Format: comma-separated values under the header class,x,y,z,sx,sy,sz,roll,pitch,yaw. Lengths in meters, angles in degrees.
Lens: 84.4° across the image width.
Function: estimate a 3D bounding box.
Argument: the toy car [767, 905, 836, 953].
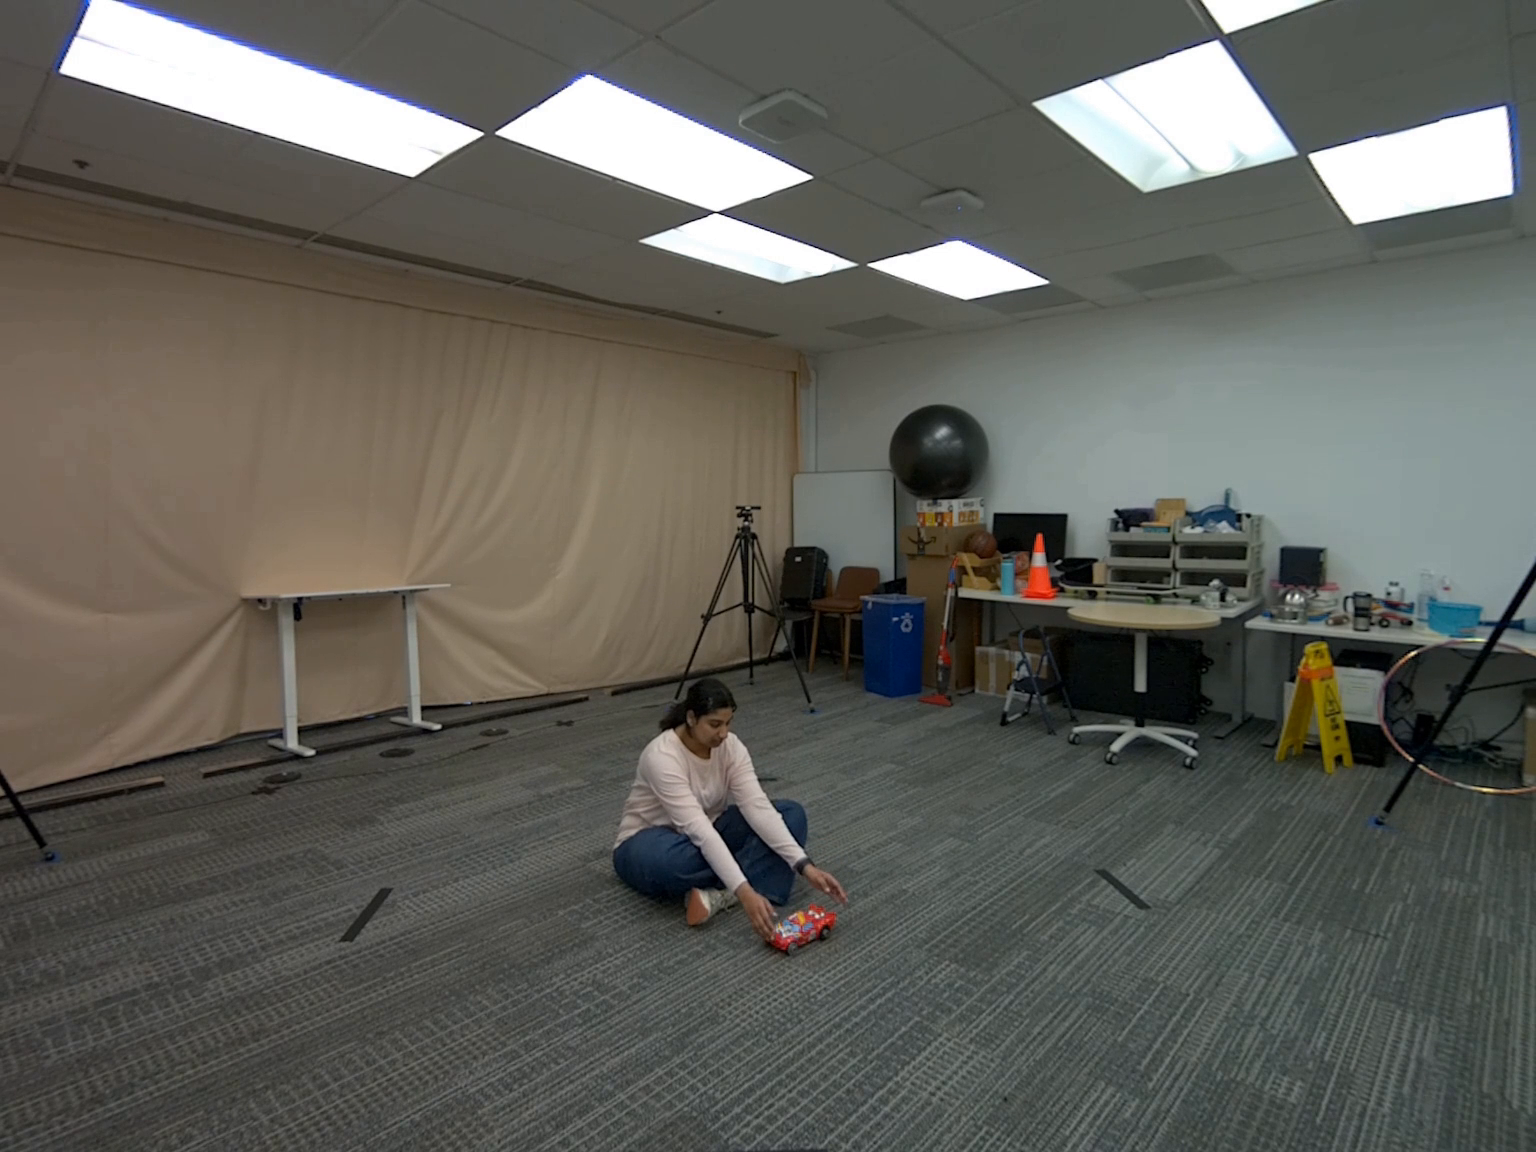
class,x,y,z,sx,sy,sz,roll,pitch,yaw
toy car,0.113,1.127,2.706,0.248,0.082,0.134,-18,15,-38
